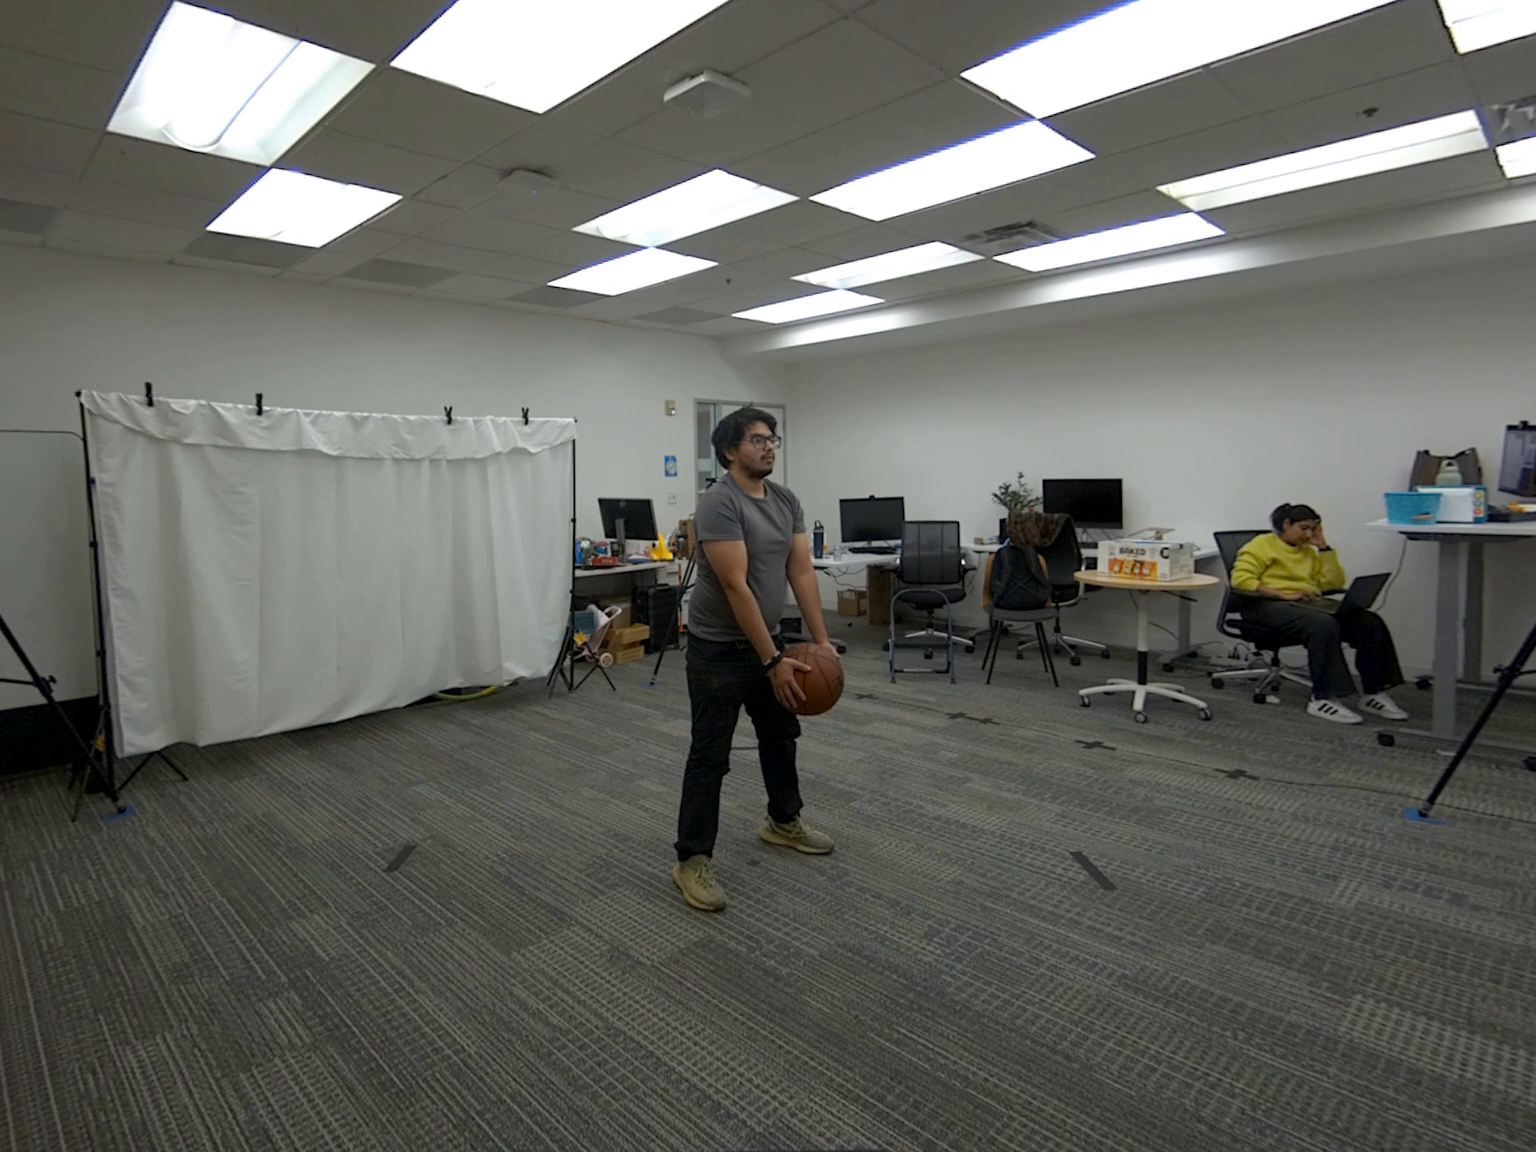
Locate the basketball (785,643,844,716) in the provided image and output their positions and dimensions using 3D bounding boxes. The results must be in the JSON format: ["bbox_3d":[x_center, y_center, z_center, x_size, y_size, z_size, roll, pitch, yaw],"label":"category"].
[{"bbox_3d":[0.128,0.340,2.822,0.236,0.235,0.237,-1,5,-2],"label":"basketball"}]
